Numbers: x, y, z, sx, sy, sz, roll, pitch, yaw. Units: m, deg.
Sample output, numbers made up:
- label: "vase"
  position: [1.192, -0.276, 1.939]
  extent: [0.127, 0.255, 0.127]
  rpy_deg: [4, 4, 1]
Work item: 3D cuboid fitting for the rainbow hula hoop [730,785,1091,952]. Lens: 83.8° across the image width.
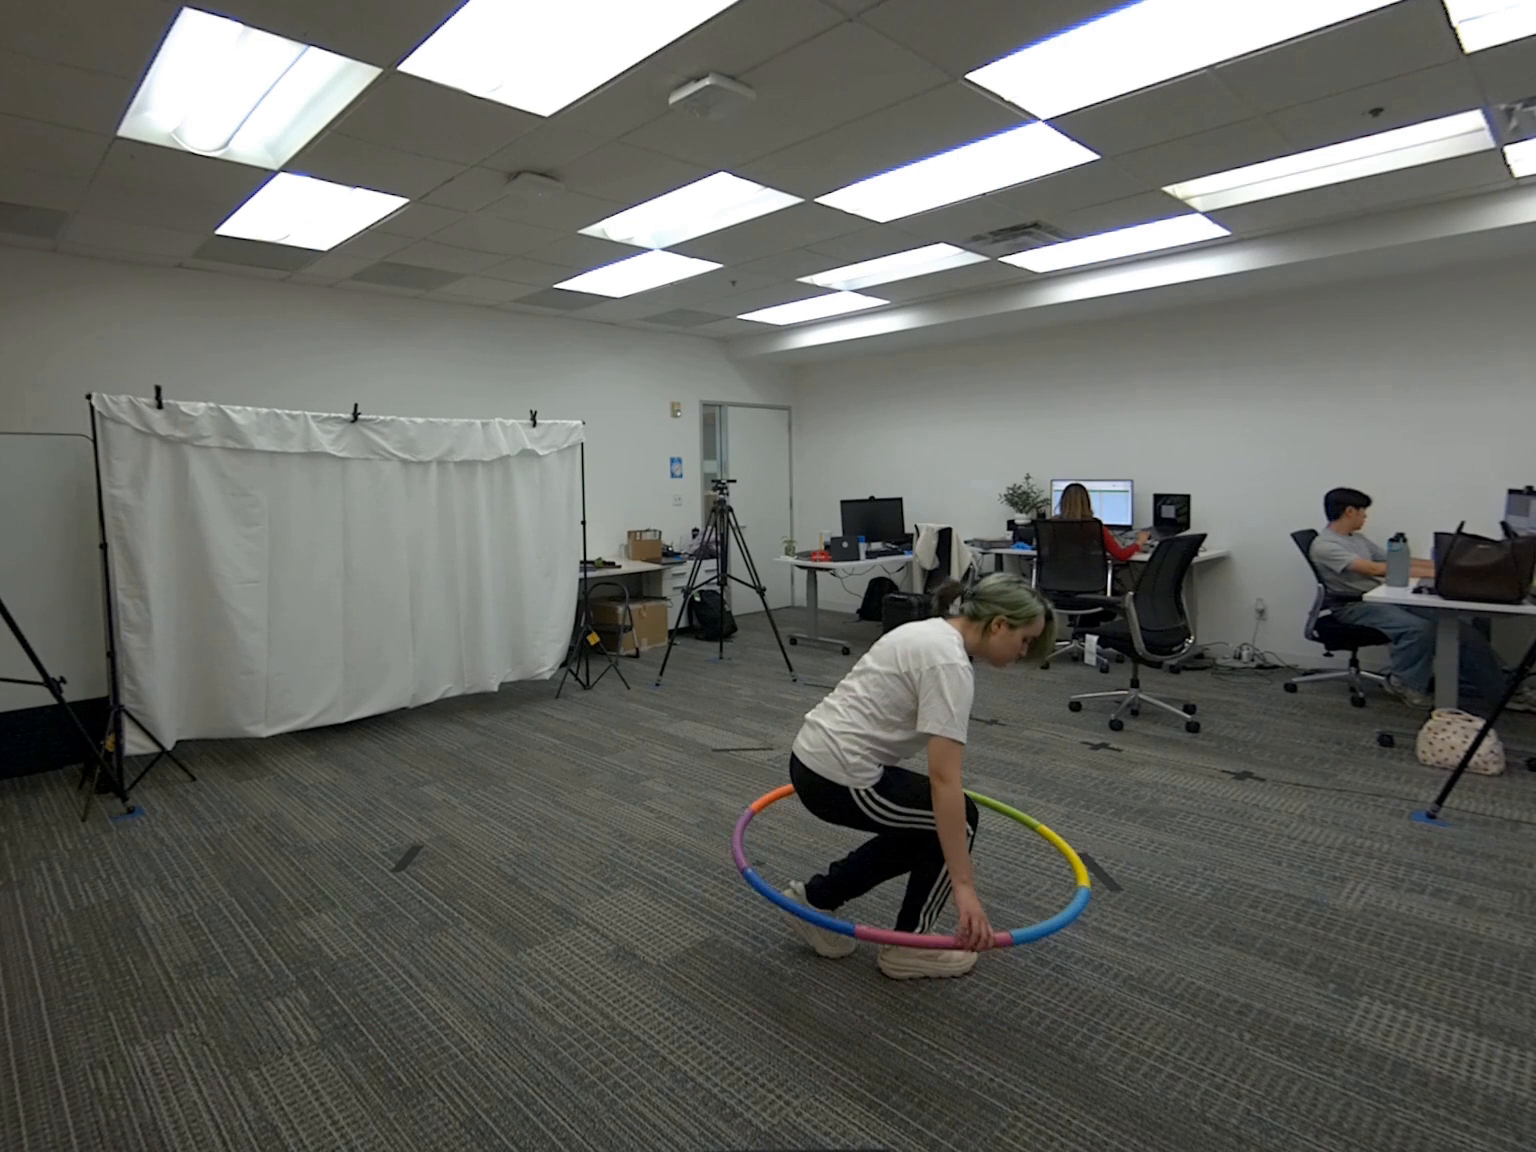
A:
- label: "rainbow hula hoop"
  position: [0.398, 0.781, 2.444]
  extent: [0.984, 0.051, 0.993]
  rpy_deg: [1, 9, -2]
